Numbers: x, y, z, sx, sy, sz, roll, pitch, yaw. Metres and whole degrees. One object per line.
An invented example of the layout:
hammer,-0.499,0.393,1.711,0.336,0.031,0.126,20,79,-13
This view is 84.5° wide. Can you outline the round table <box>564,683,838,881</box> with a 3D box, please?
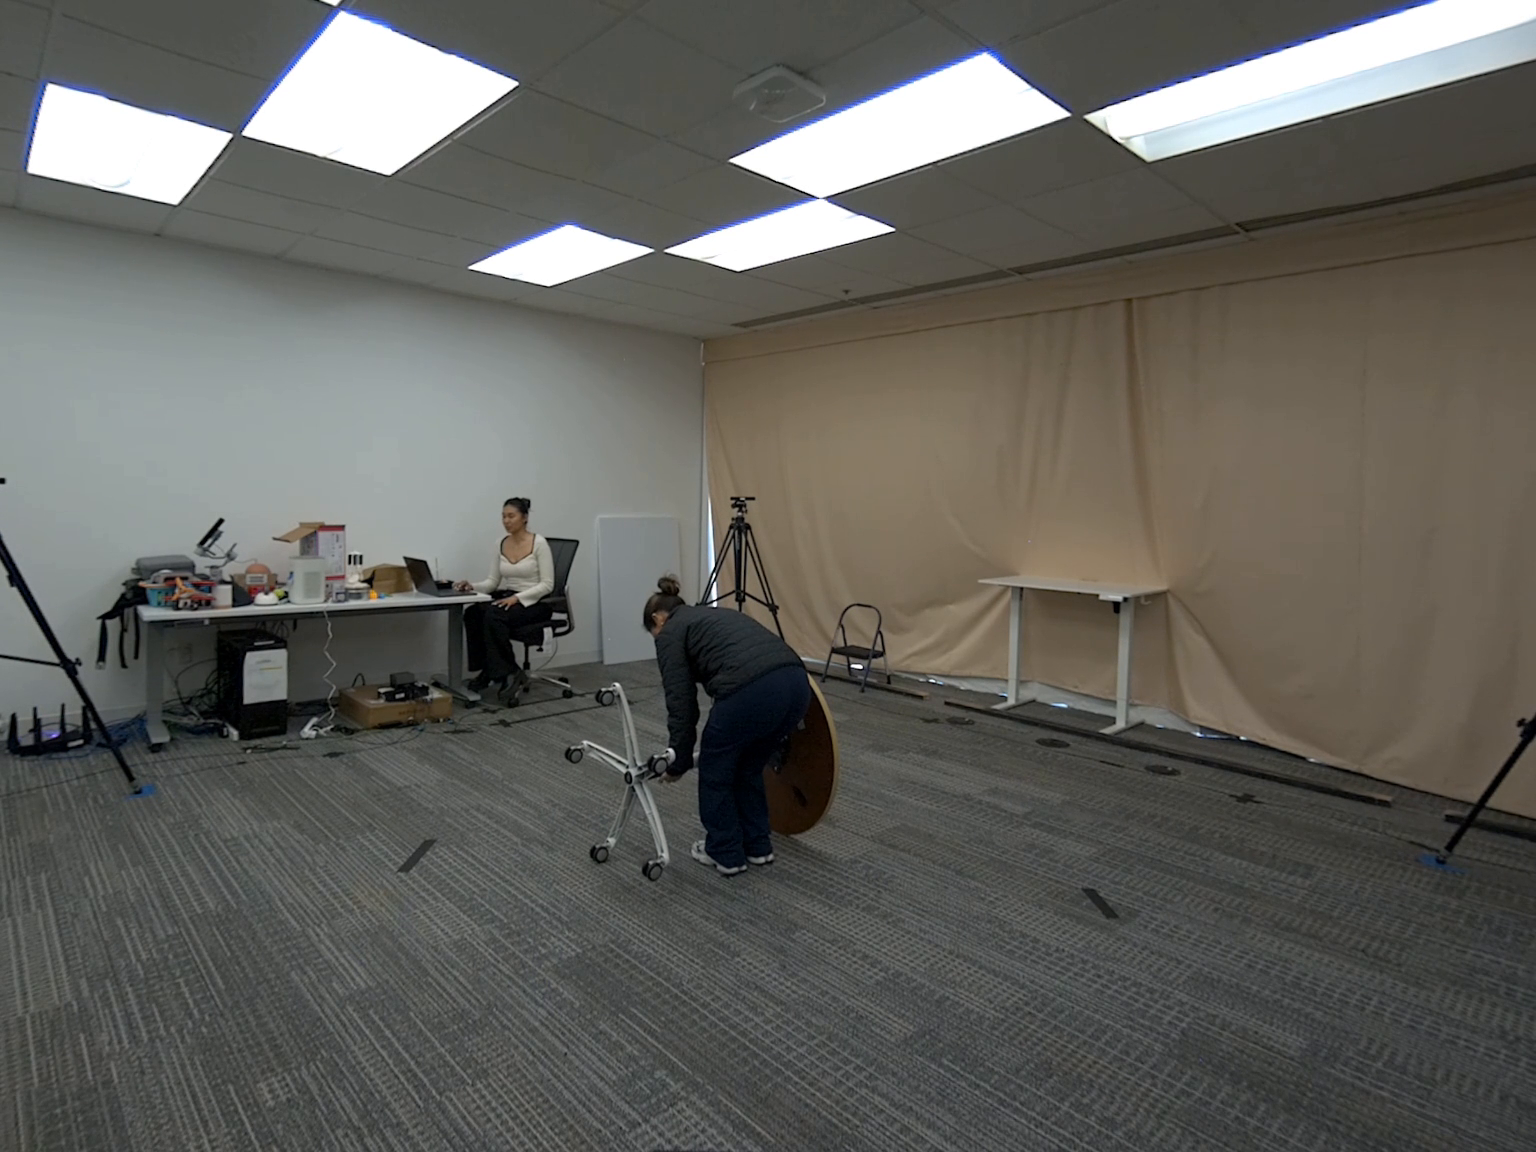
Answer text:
round table,-0.268,0.731,3.275,0.770,0.782,0.805,-6,8,-40
